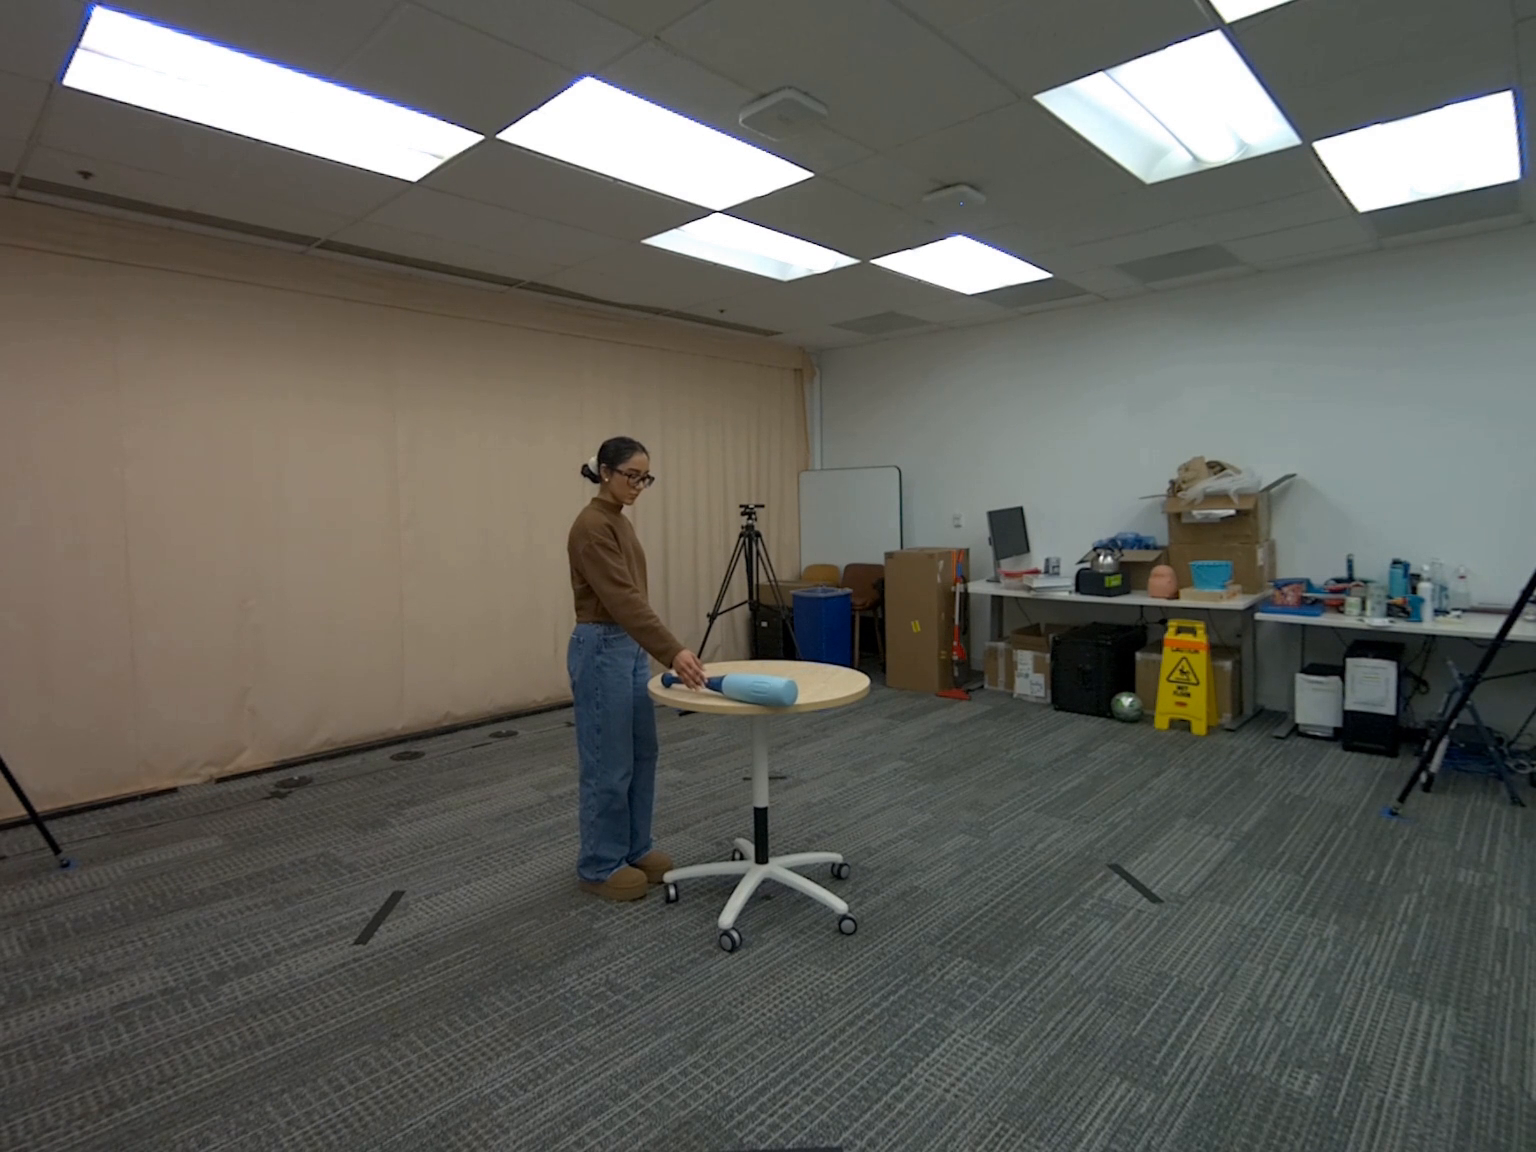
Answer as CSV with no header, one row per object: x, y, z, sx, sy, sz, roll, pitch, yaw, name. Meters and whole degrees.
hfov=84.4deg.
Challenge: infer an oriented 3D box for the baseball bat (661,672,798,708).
-0.141,0.349,2.661,0.560,0.089,0.086,-1,2,41,baseball bat
